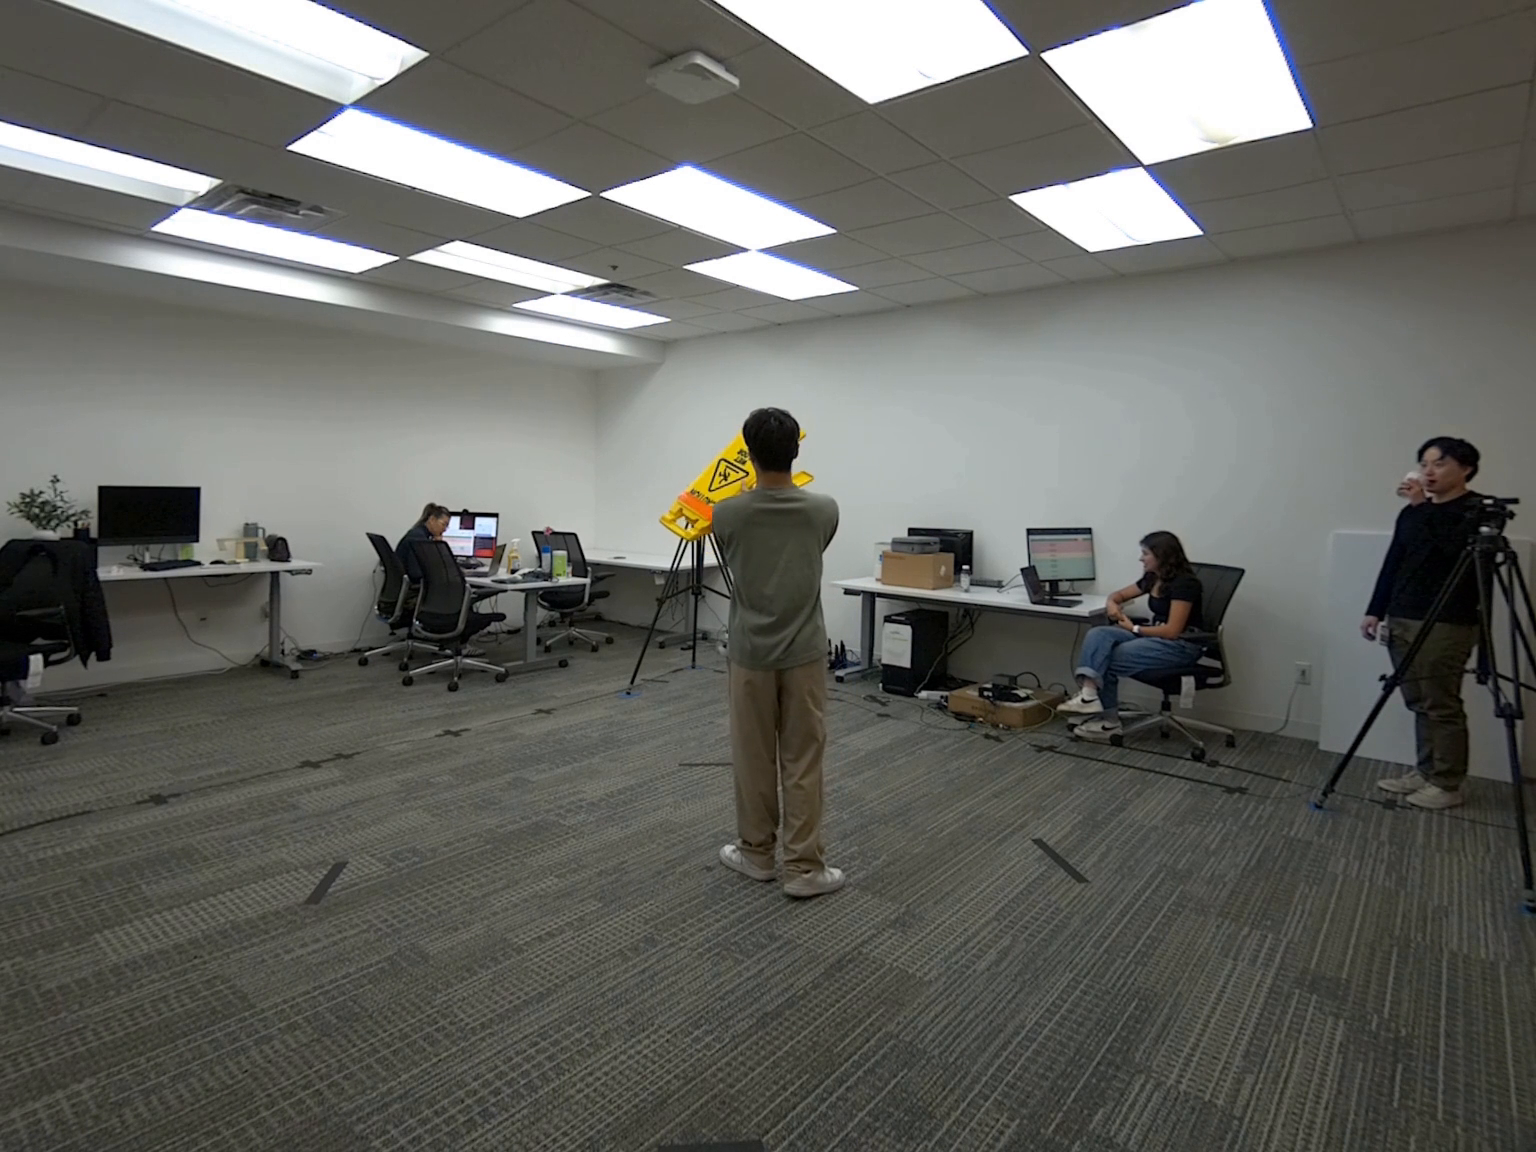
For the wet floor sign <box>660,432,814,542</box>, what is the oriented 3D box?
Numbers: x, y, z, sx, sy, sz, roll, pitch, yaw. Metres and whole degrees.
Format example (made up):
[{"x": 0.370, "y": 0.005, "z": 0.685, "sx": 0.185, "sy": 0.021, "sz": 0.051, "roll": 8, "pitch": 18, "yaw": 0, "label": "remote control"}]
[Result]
[{"x": -0.155, "y": -0.367, "z": 3.493, "sx": 0.643, "sy": 0.279, "sz": 0.294, "roll": -40, "pitch": 50, "yaw": -22, "label": "wet floor sign"}]
